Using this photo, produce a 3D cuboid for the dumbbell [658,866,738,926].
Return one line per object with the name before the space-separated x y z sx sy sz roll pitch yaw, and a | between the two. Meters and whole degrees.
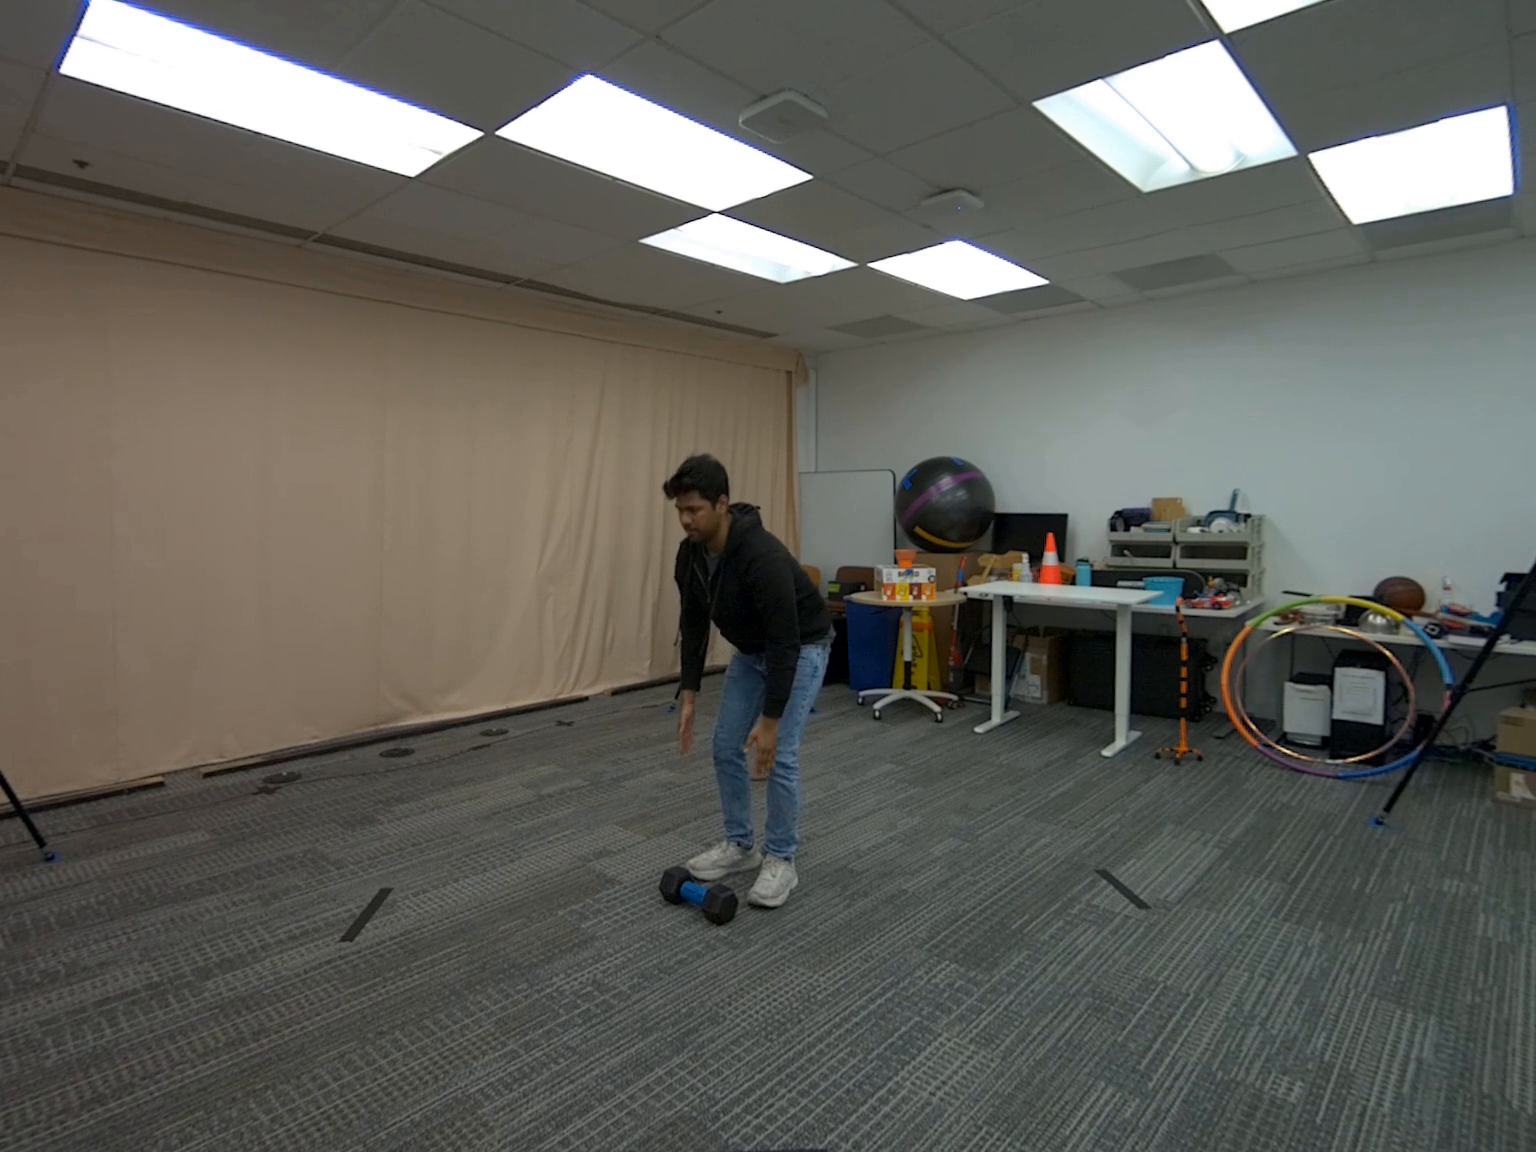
dumbbell | -0.241 1.098 2.897 0.303 0.123 0.105 5 -24 42
